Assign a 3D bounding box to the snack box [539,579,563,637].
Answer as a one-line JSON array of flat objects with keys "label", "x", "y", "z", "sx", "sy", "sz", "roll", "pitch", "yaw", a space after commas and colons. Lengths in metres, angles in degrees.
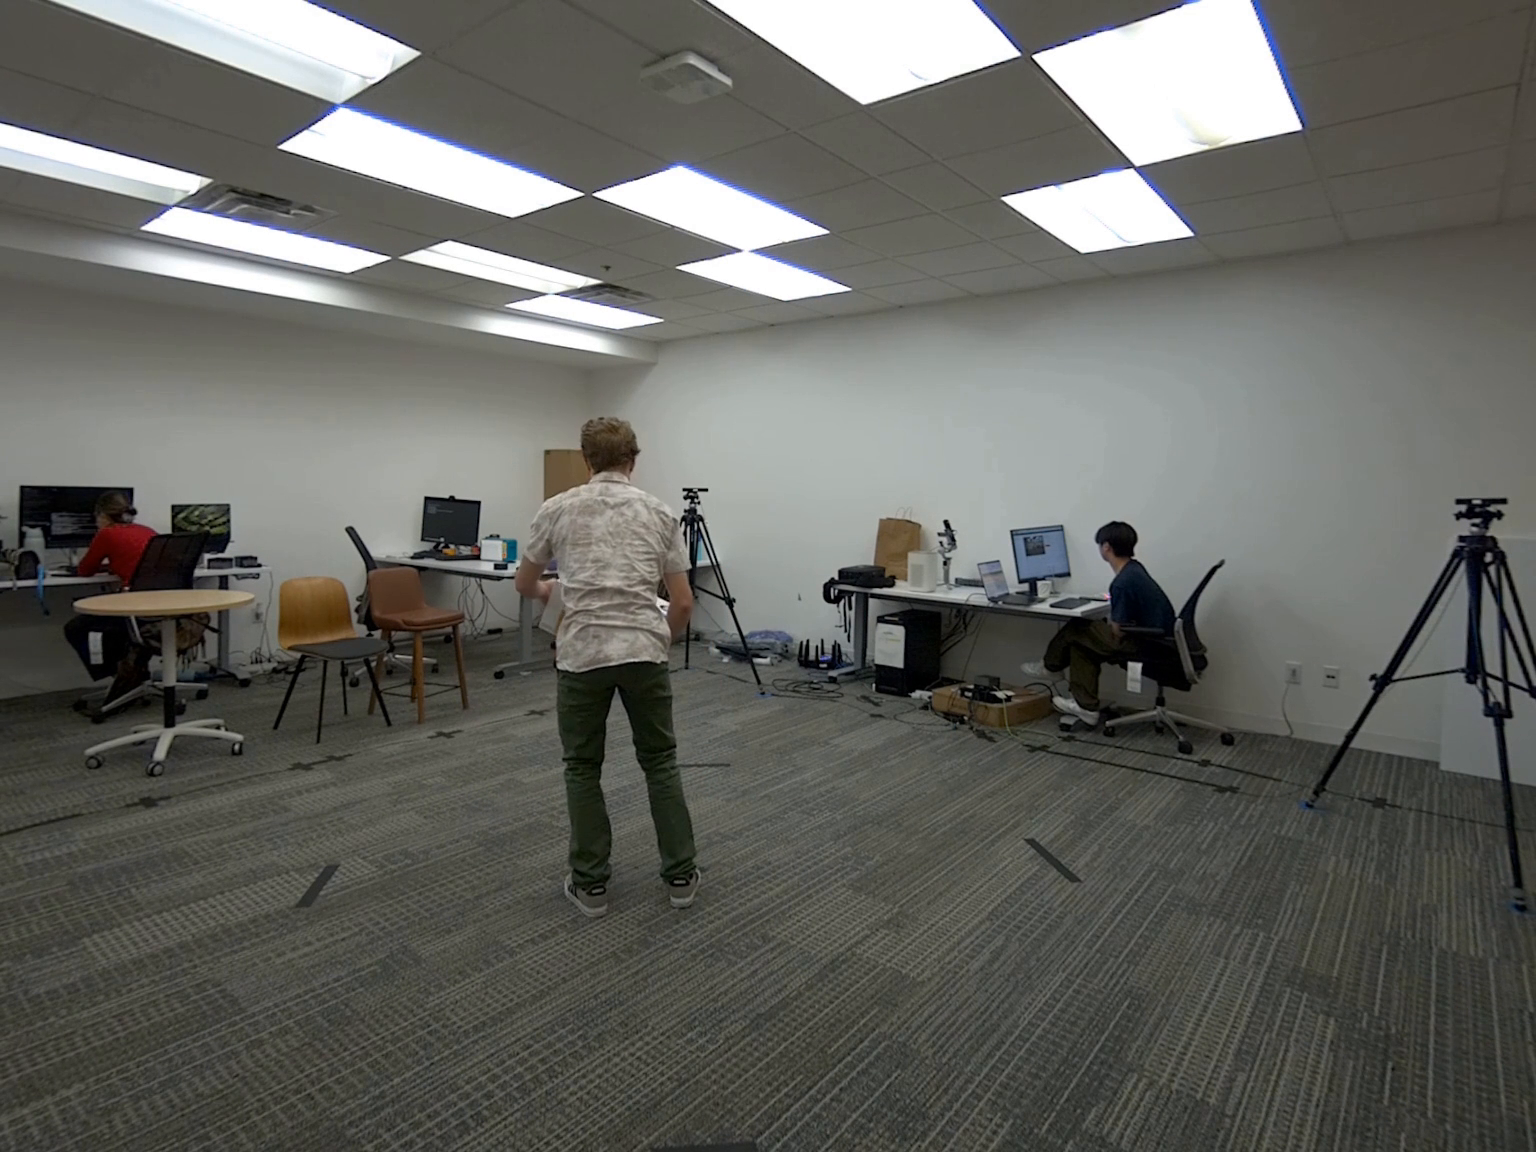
[{"label": "snack box", "x": -0.610, "y": 0.162, "z": 3.294, "sx": 0.411, "sy": 0.204, "sz": 0.337, "roll": 24, "pitch": 14, "yaw": 10}]
